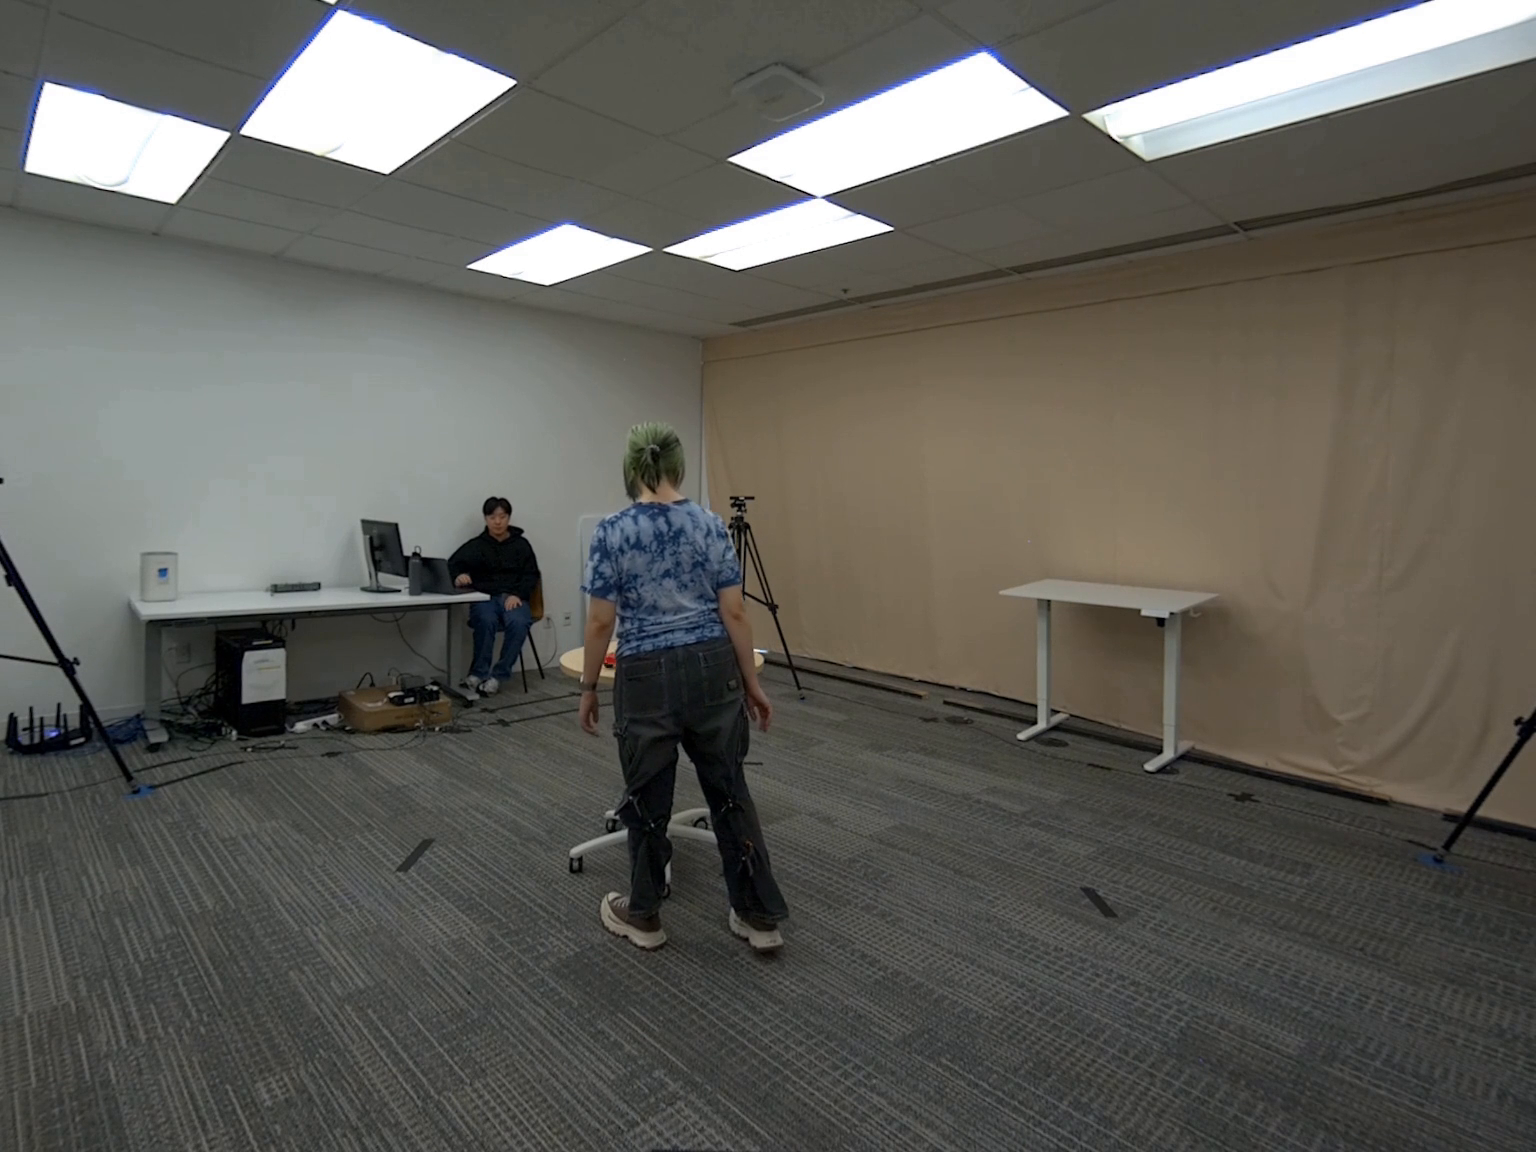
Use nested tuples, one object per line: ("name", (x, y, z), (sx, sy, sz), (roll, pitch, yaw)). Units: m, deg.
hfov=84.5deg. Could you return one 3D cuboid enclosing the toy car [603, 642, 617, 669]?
("toy car", (-0.501, 0.290, 3.053), (0.132, 0.082, 0.254), (3, 17, 18))
